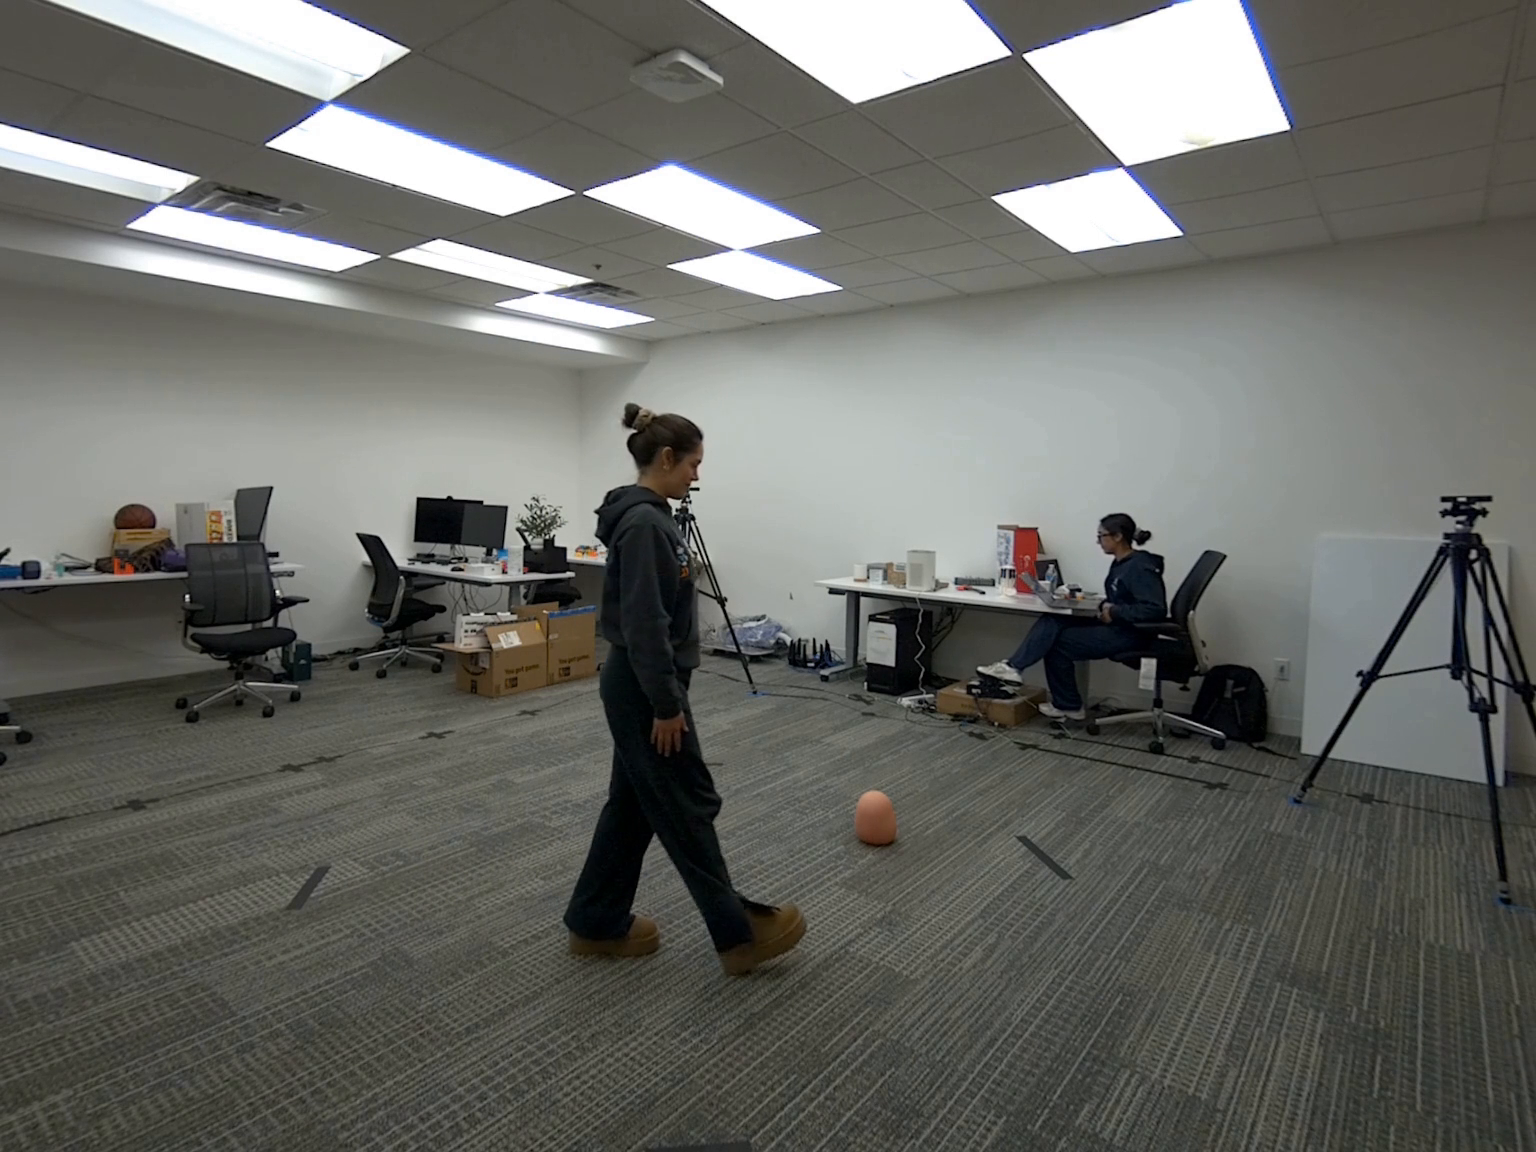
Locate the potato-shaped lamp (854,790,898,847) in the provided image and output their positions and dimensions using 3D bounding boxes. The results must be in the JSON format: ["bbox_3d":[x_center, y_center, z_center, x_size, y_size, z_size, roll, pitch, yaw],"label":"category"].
[{"bbox_3d":[0.431,0.952,3.392,0.170,0.197,0.166,8,8,41],"label":"potato-shaped lamp"}]
